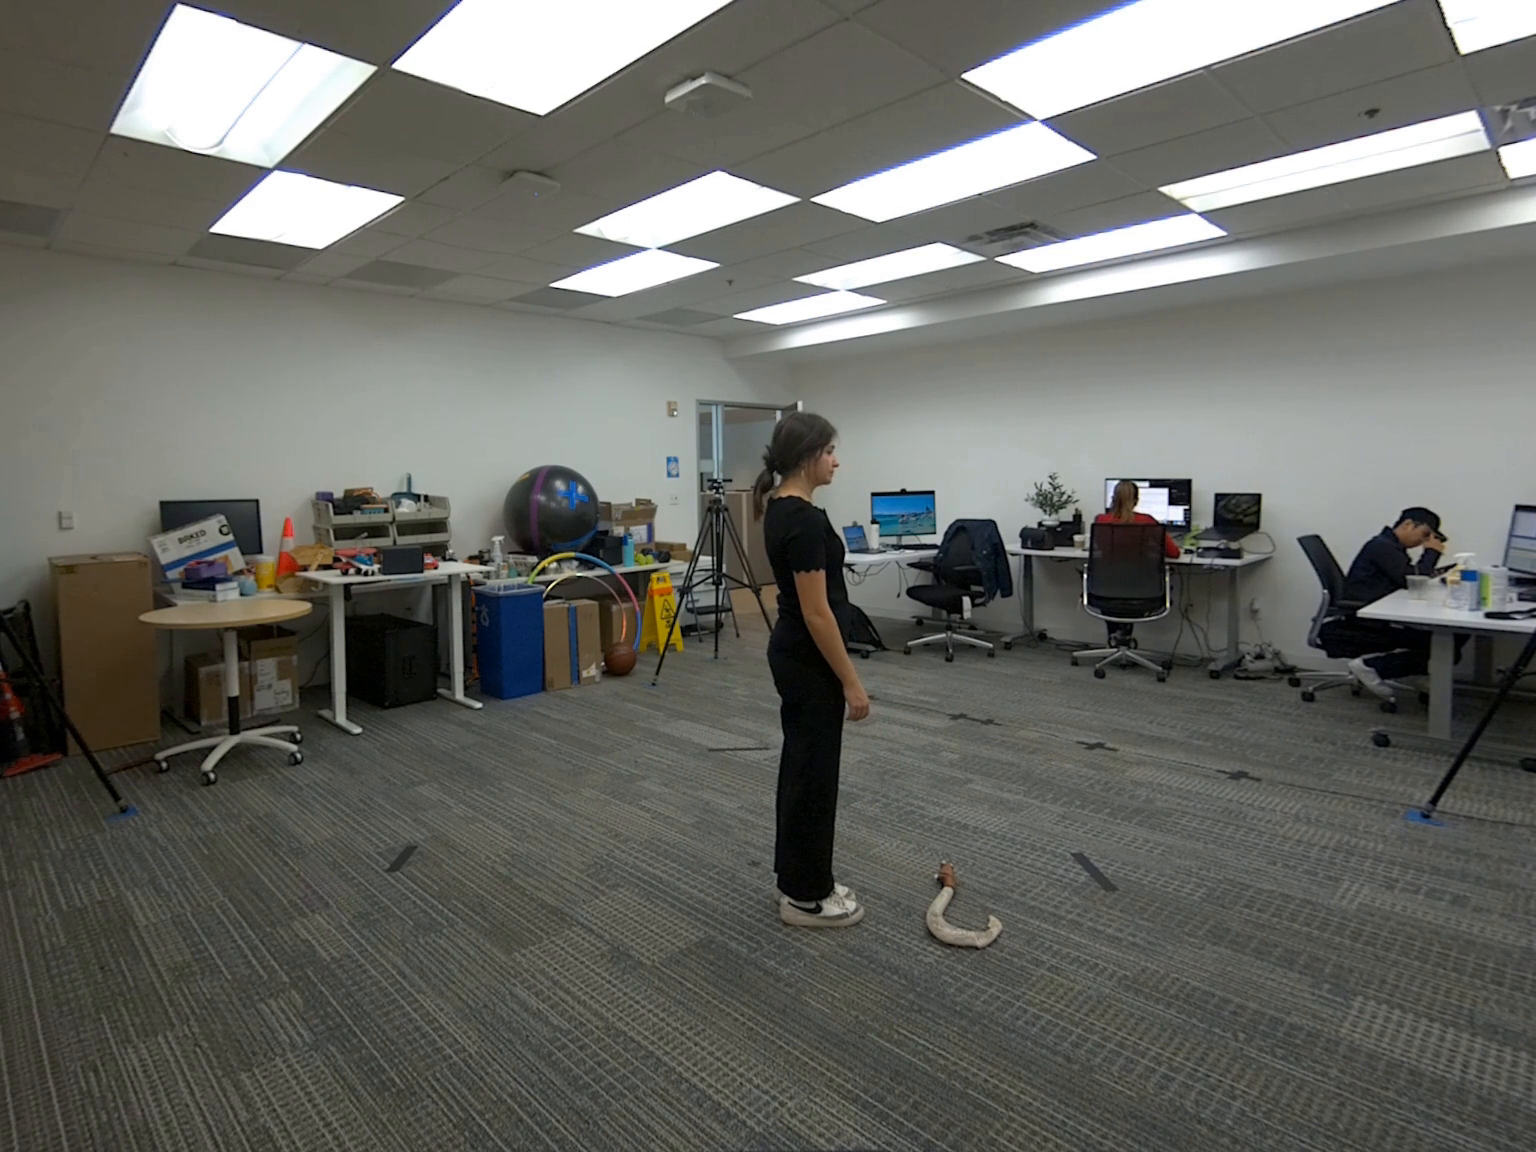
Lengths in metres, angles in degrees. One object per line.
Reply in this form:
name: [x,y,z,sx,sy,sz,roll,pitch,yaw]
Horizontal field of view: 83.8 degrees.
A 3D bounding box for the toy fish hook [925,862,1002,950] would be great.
toy fish hook: [0.630,1.054,2.763,0.228,0.048,0.502,8,9,13]
